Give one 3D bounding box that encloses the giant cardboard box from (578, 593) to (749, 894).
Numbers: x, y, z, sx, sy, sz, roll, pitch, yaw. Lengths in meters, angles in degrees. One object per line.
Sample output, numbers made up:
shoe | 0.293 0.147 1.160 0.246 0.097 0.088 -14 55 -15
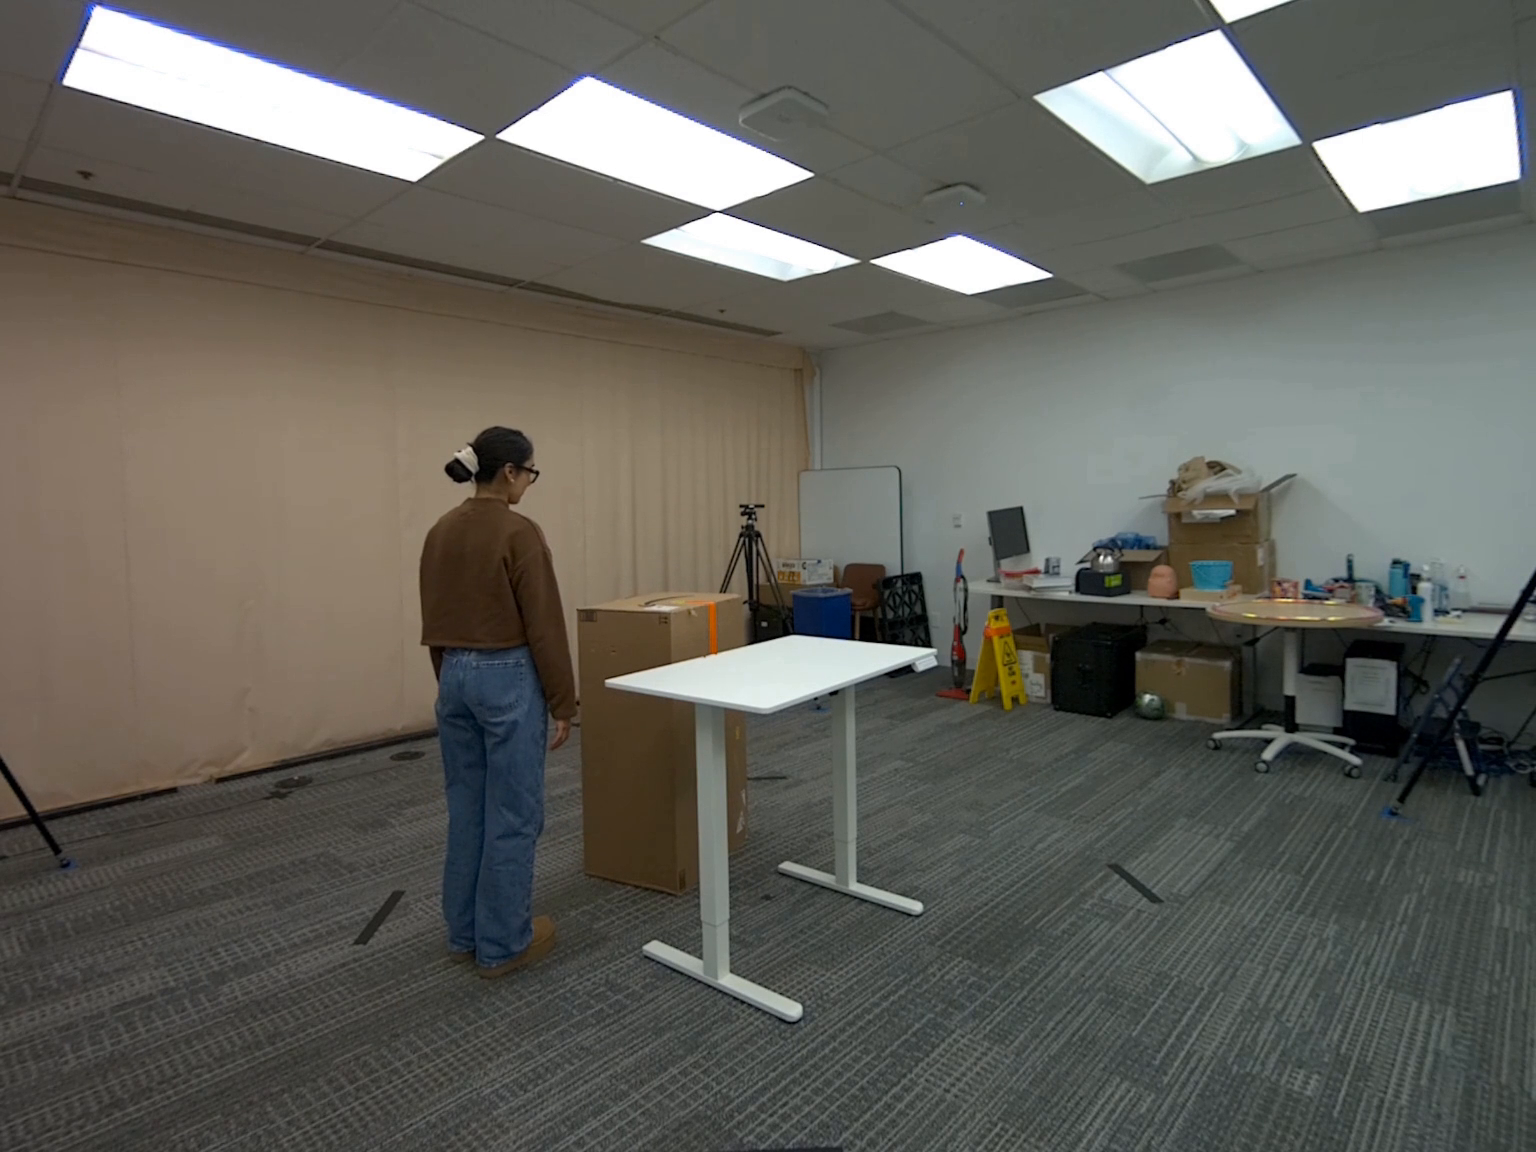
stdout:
giant cardboard box | -0.398 0.607 3.330 0.437 1.024 0.563 0 3 26
